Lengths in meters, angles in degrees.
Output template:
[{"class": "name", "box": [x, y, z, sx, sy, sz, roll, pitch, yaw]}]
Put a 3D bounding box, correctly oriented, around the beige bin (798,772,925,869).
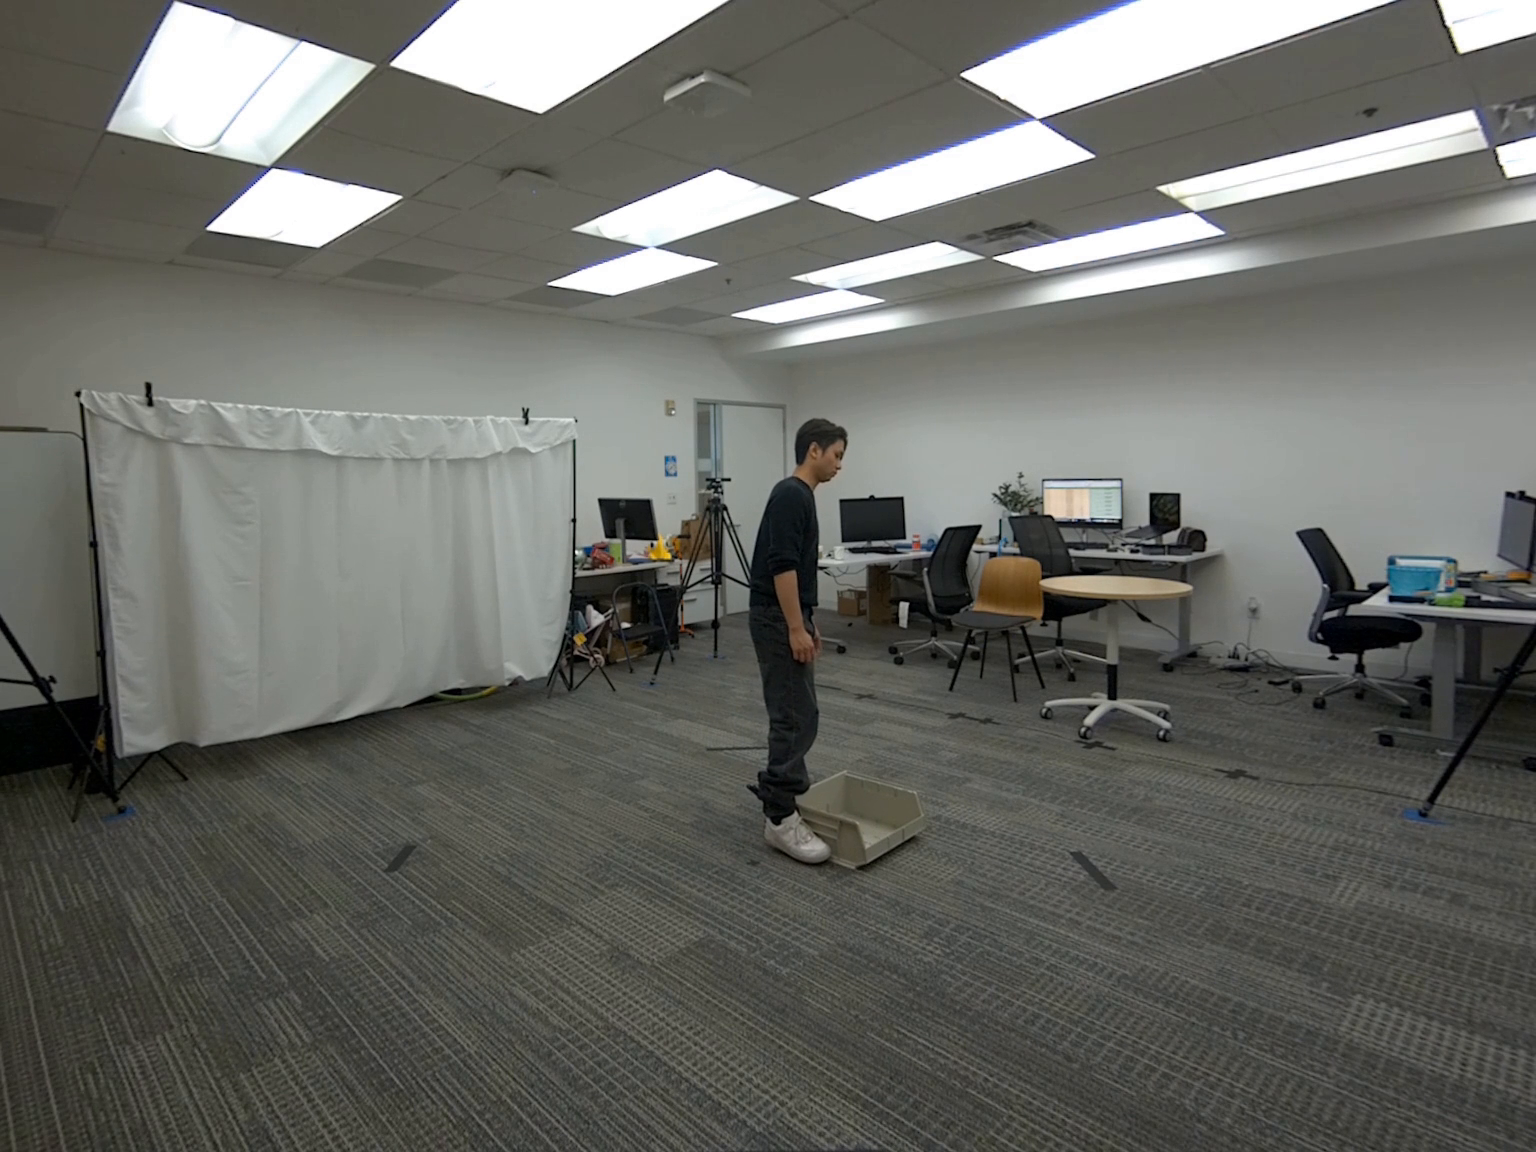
[{"class": "beige bin", "box": [0.339, 0.931, 3.271, 0.389, 0.188, 0.411, 3, 8, 42]}]
